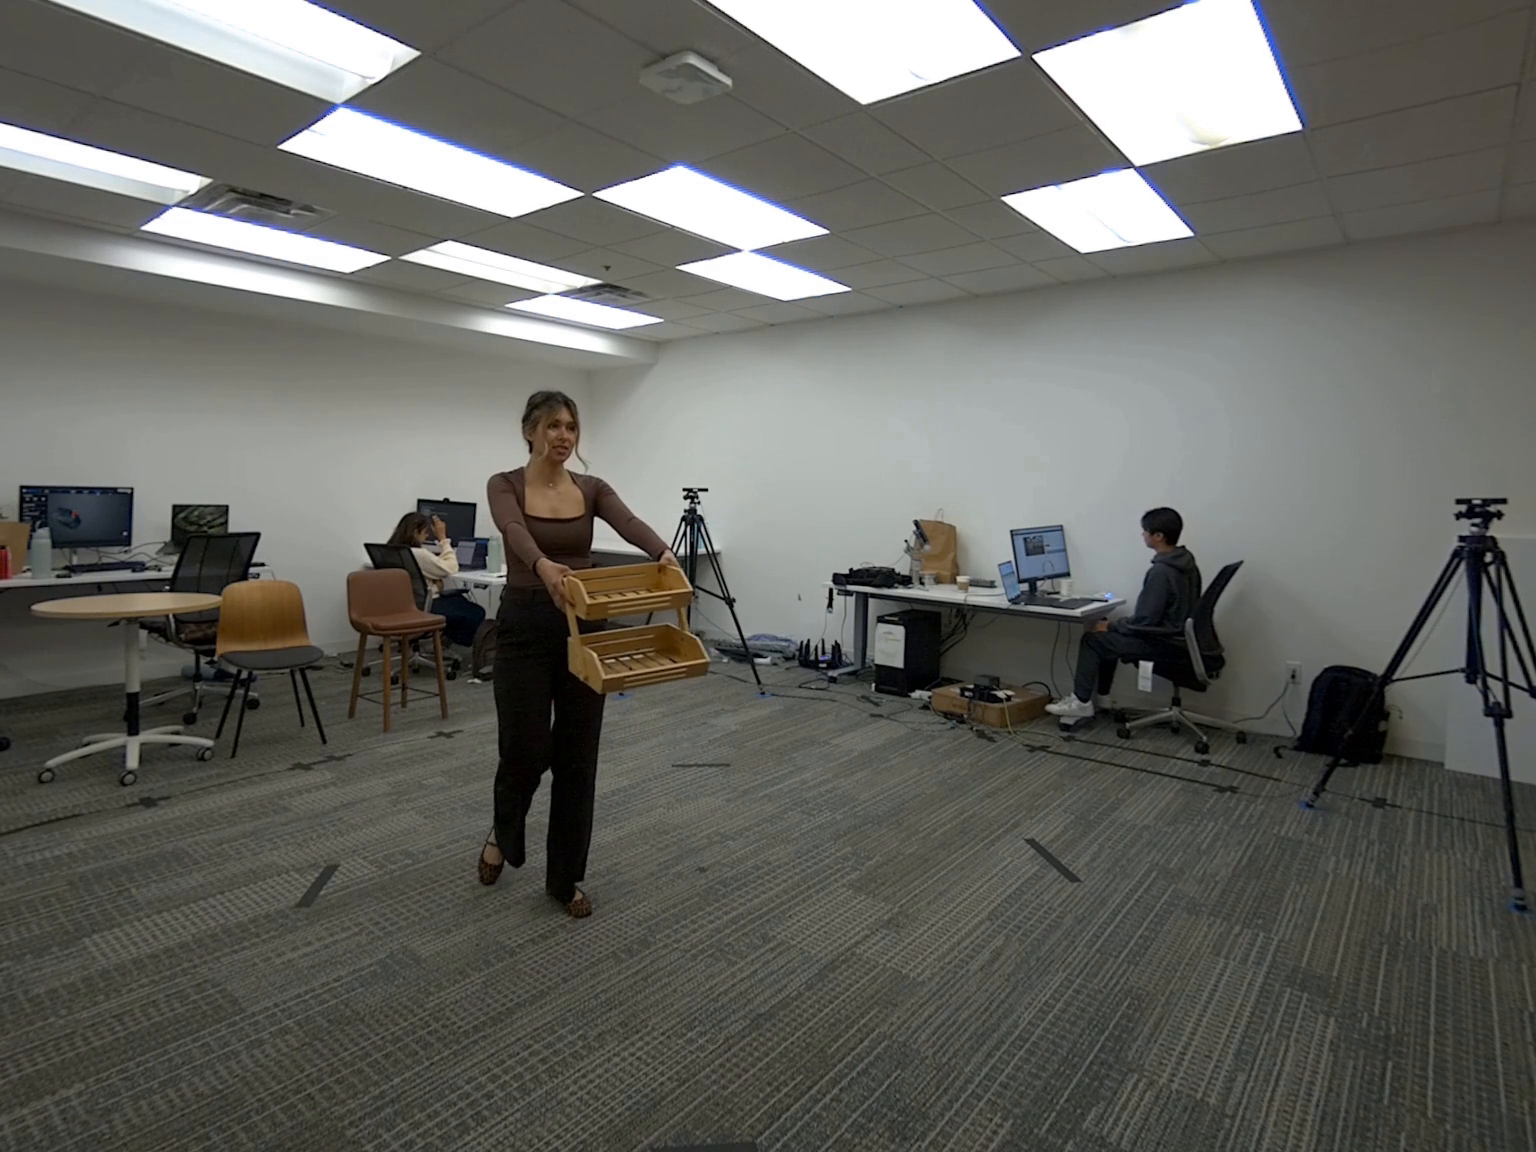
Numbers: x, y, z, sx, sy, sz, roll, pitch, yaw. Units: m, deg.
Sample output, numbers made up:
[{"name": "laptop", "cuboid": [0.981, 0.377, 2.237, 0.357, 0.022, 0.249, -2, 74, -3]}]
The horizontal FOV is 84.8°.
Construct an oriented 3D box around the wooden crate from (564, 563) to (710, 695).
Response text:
[{"name": "wooden crate", "cuboid": [-0.375, 0.129, 2.253, 0.316, 0.271, 0.312, -5, 10, -30]}]
